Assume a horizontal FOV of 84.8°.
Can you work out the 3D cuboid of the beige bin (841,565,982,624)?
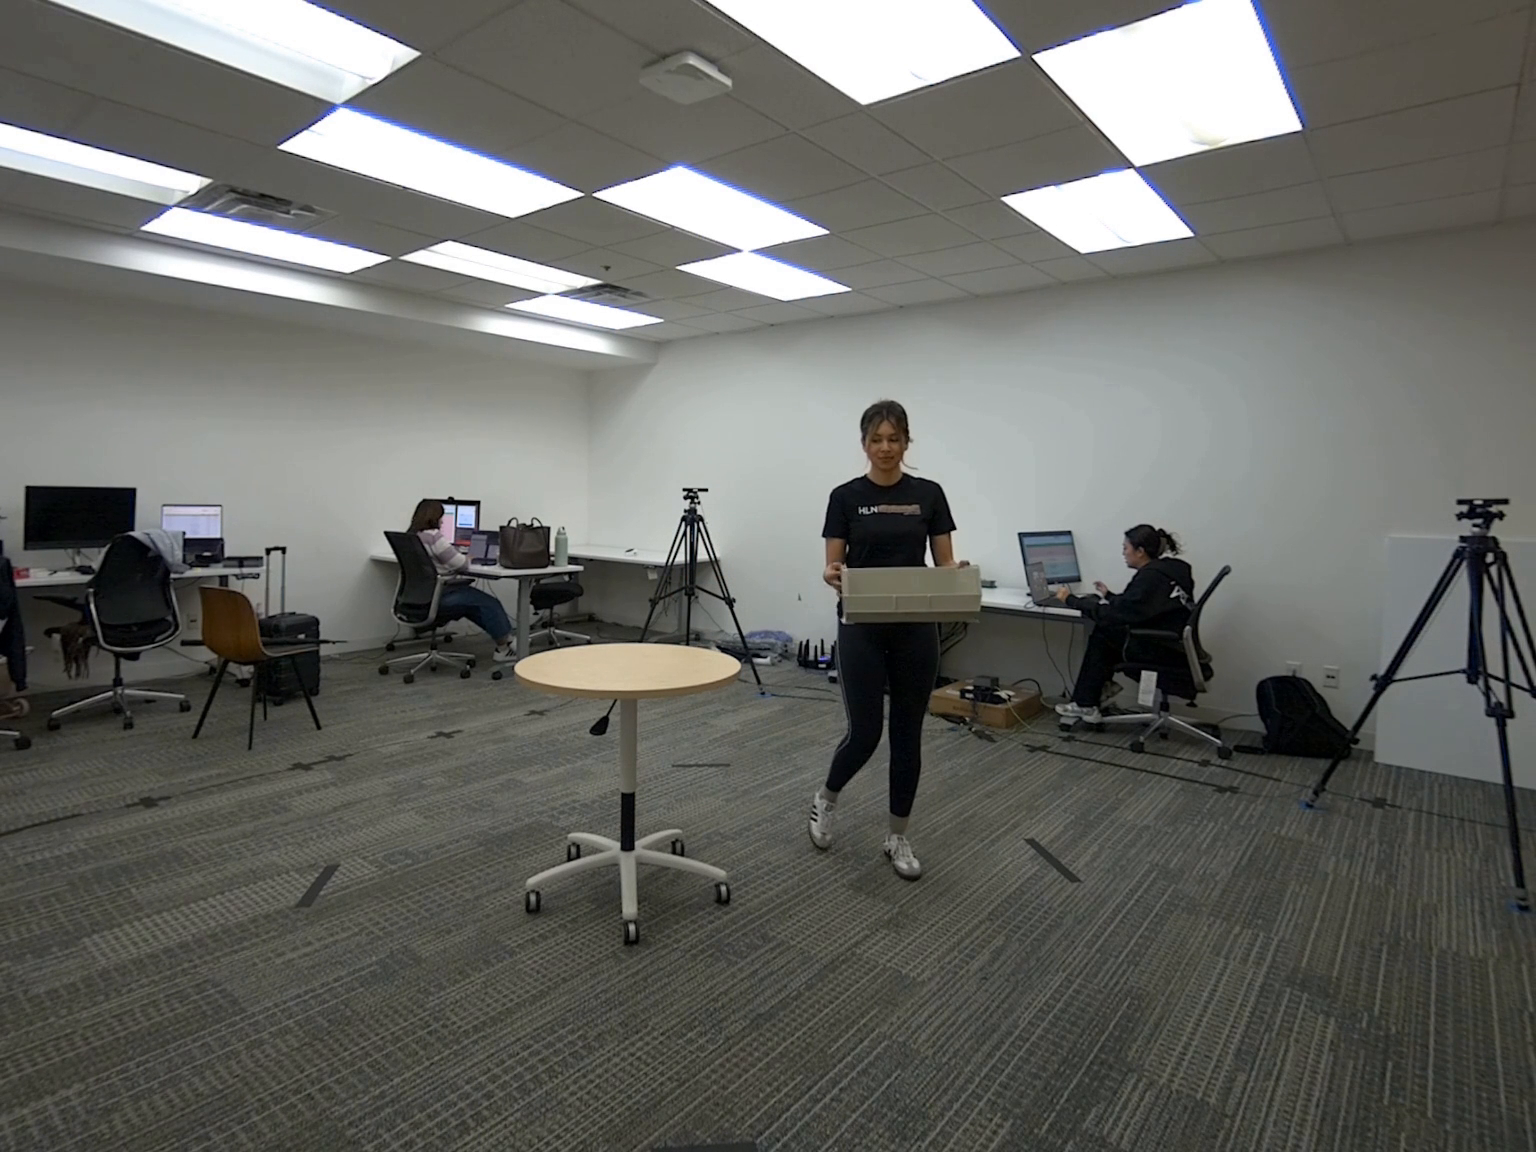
[{"bbox_3d":[0.441,0.067,2.763,0.425,0.190,0.373,-1,-3,6],"label":"beige bin"}]
